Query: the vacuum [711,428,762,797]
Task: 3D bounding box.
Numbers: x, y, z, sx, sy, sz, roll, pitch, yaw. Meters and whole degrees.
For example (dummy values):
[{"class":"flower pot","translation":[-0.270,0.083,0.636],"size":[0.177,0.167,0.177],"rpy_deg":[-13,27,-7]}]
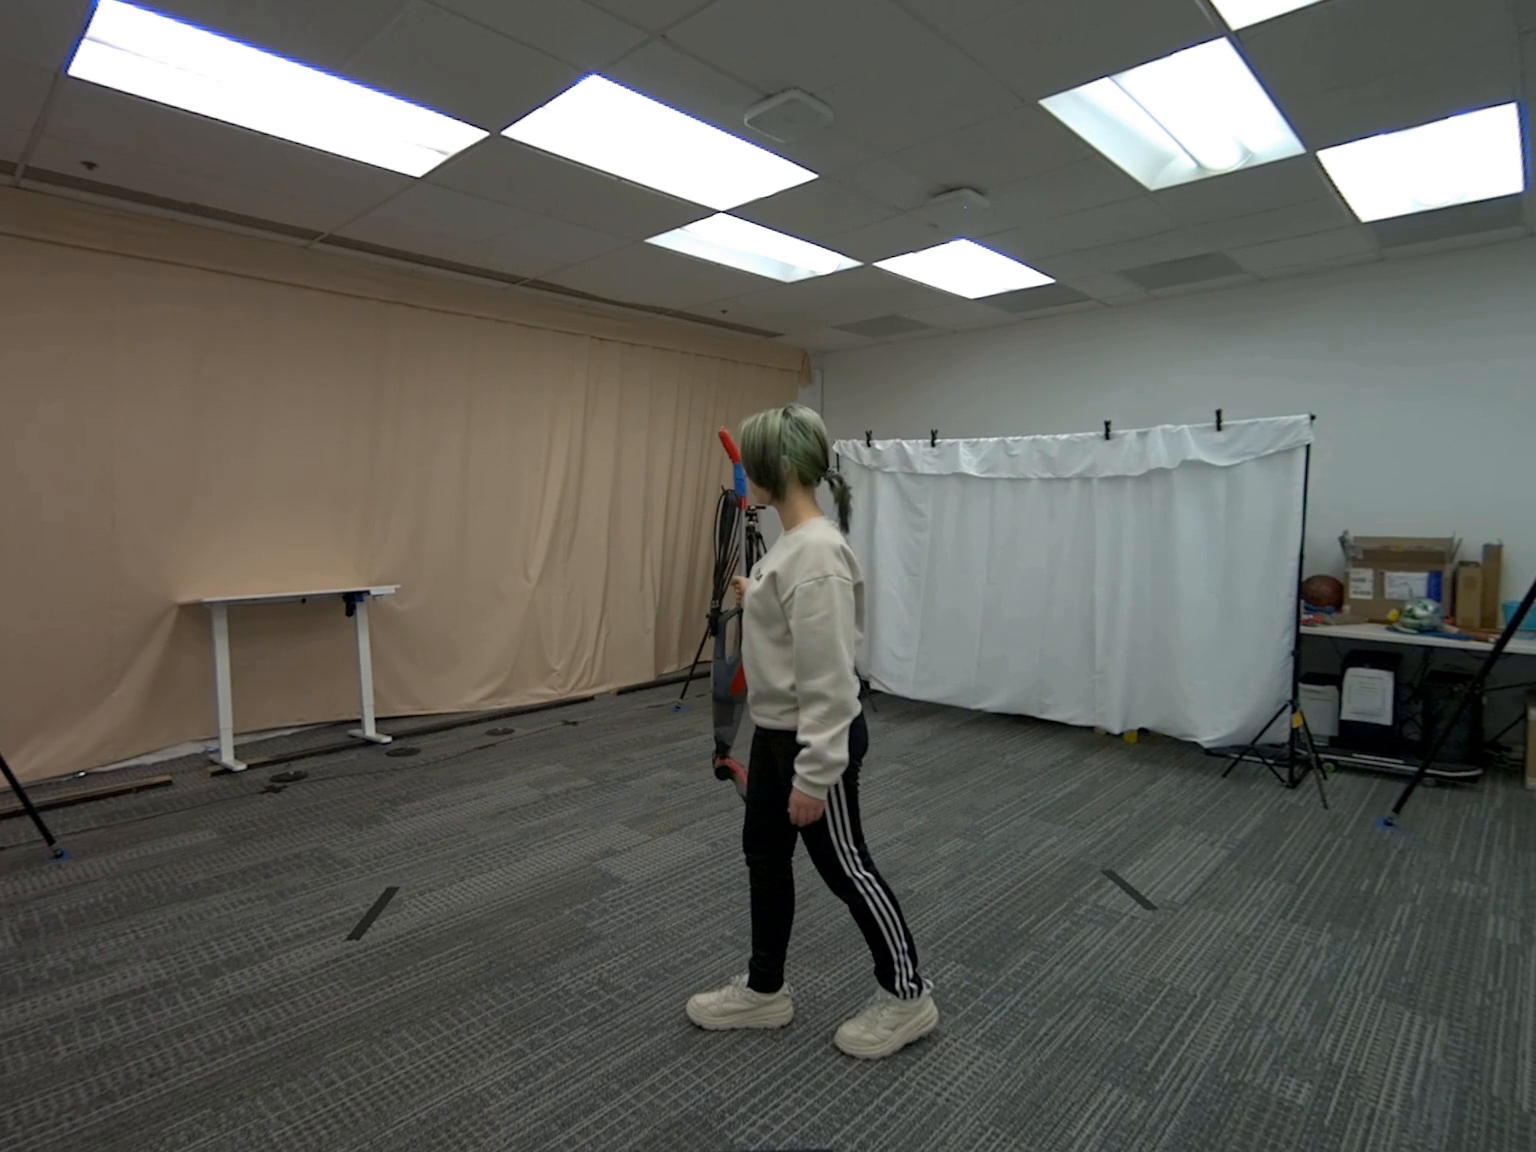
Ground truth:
[{"class":"vacuum","translation":[-0.112,0.108,2.523],"size":[0.140,1.043,0.260],"rpy_deg":[-5,10,-27]}]
